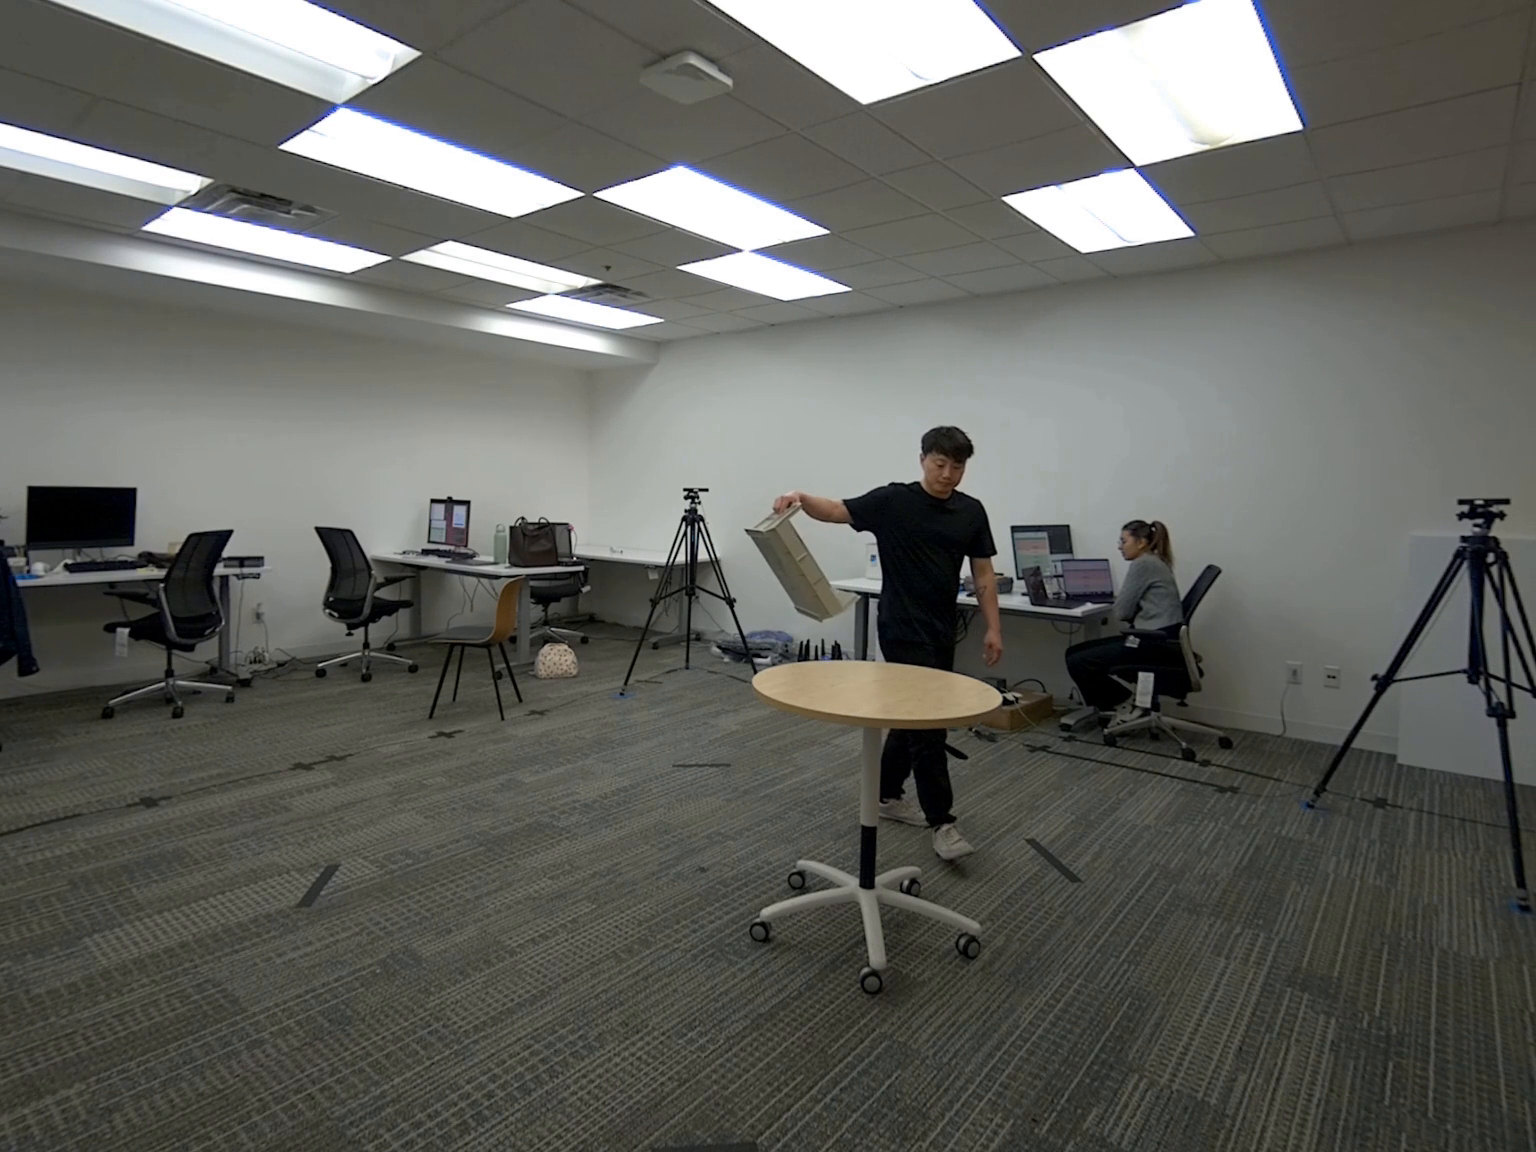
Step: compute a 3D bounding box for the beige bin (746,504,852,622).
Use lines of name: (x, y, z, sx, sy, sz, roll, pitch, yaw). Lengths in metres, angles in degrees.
beige bin: (0.112, -0.055, 3.279, 0.188, 0.418, 0.383, -34, 9, -8)
